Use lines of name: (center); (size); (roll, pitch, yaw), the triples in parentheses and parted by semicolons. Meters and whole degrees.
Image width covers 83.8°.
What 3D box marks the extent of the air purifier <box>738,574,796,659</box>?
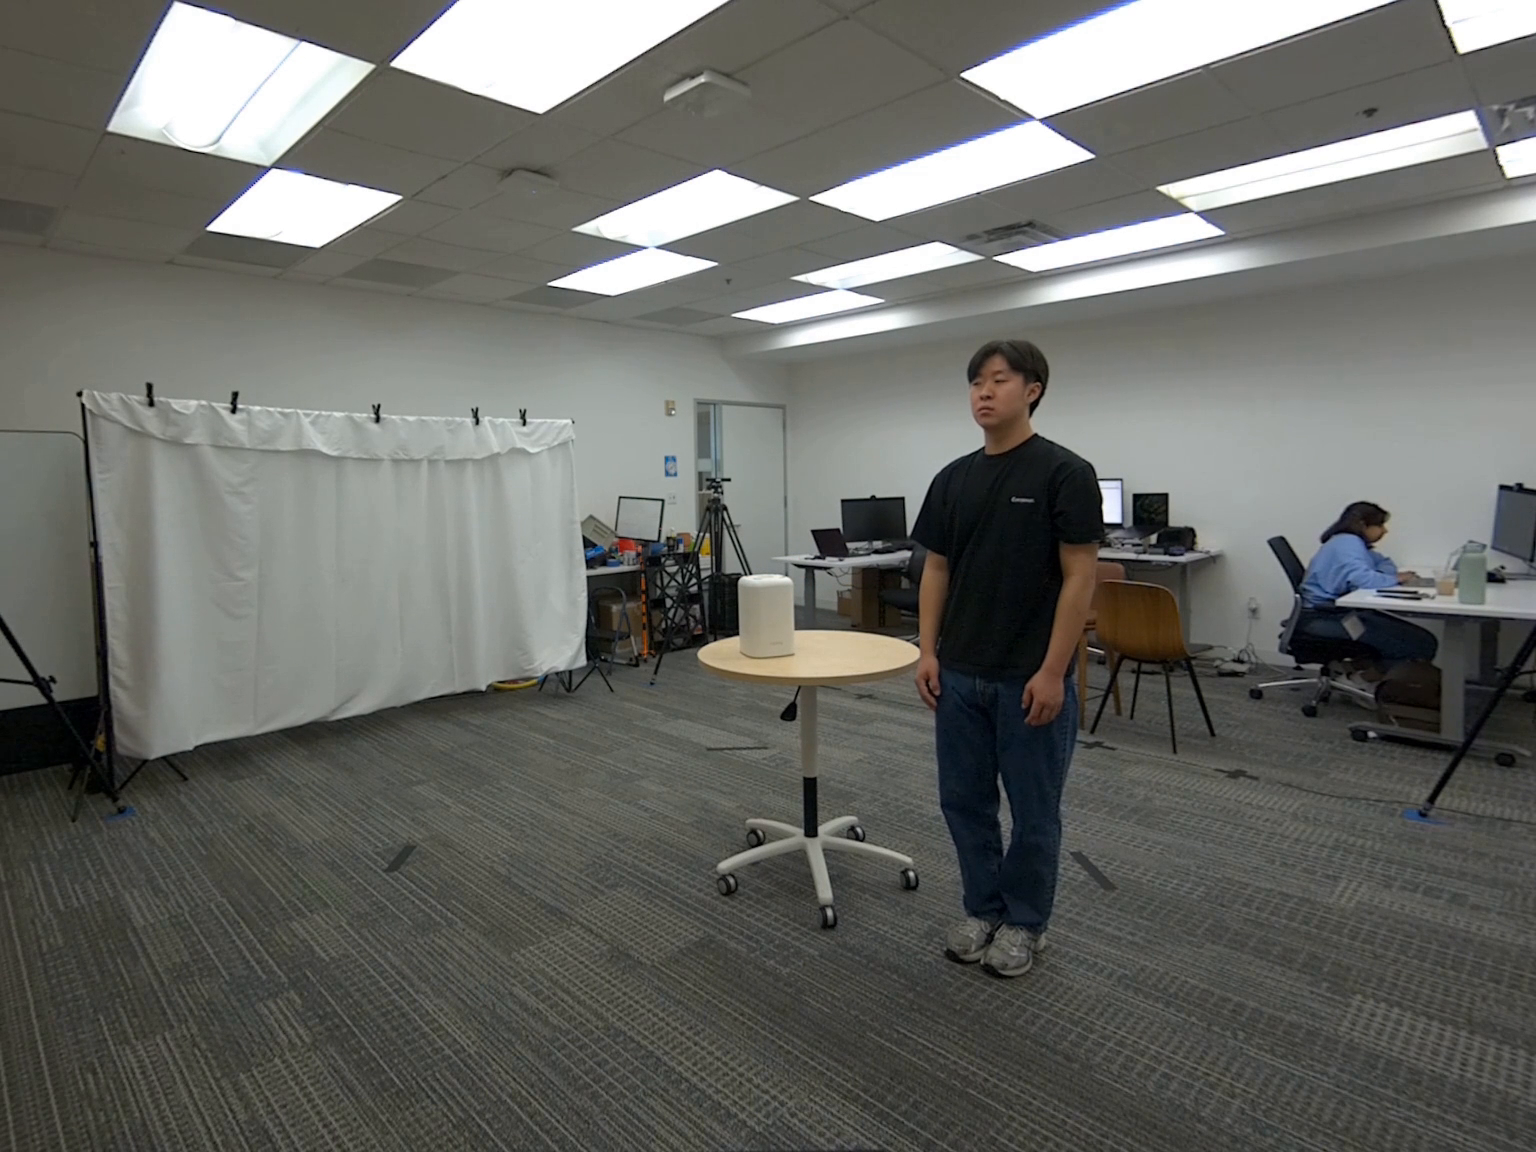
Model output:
air purifier: (0.000, 0.133, 2.939); (0.168, 0.264, 0.175); (-3, 6, -18)
